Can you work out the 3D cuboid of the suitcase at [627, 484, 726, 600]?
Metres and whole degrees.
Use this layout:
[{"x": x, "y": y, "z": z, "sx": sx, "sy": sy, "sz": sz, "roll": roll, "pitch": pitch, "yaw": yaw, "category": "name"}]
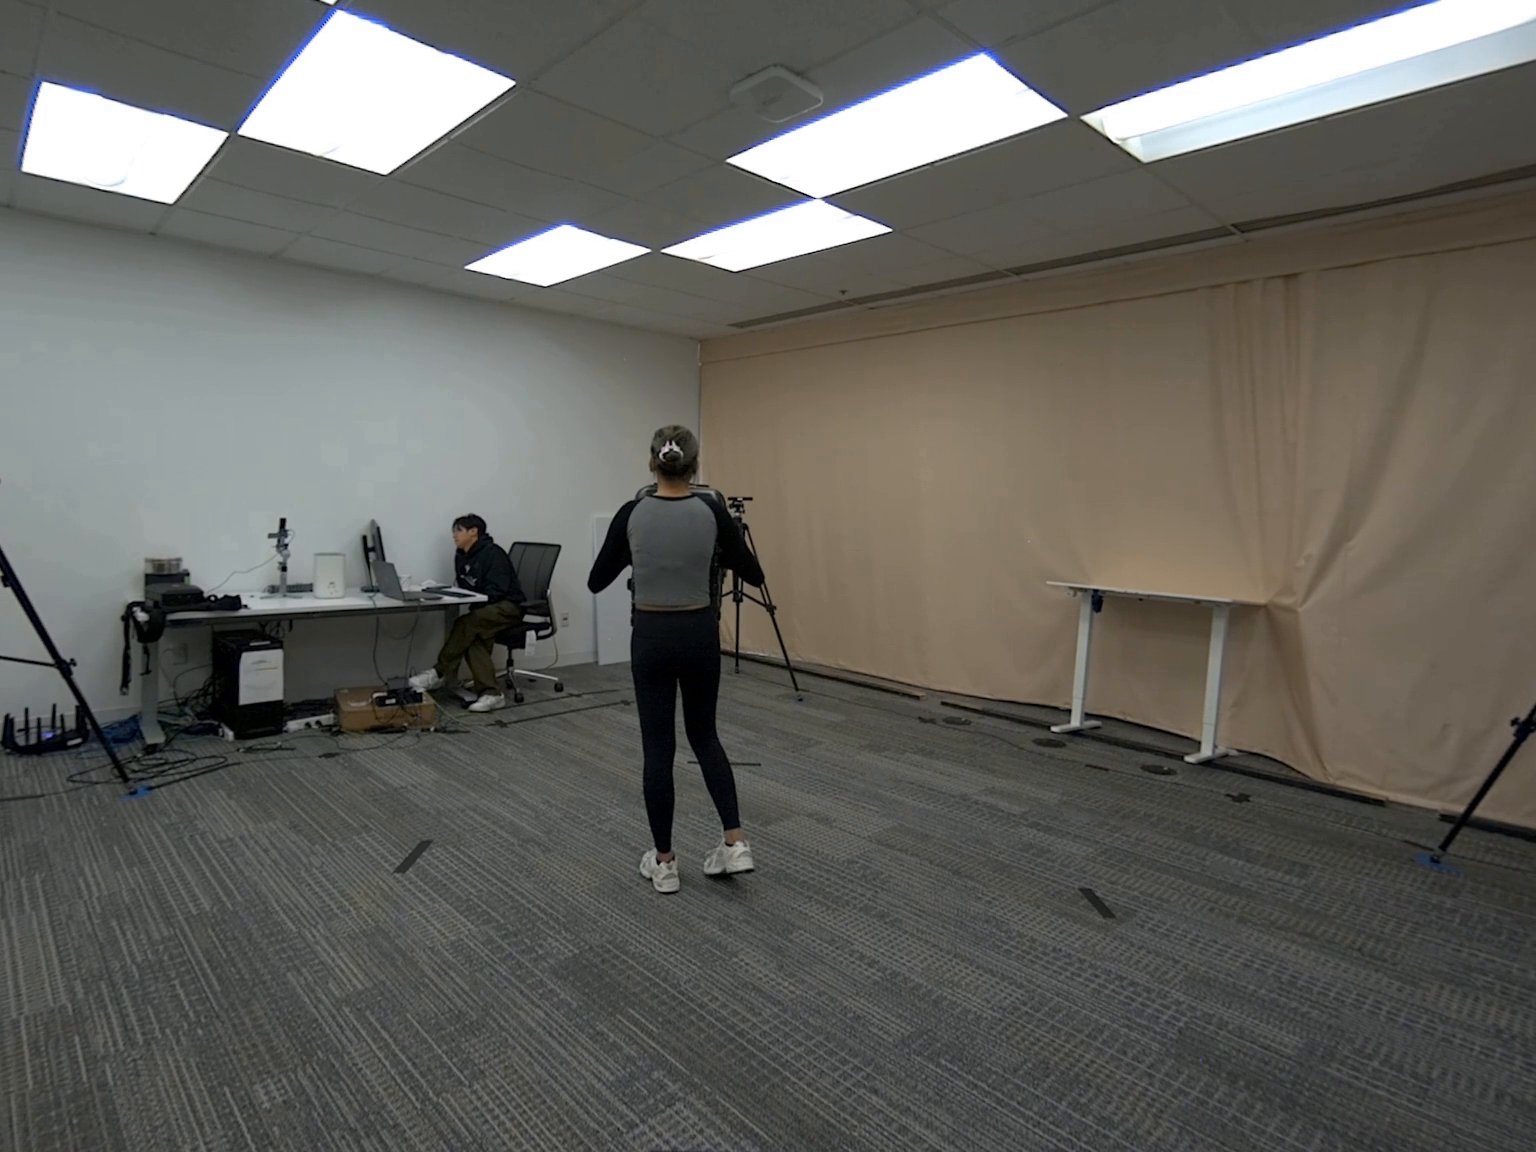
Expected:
[{"x": -0.349, "y": -0.084, "z": 3.275, "sx": 0.375, "sy": 0.546, "sz": 0.249, "roll": 3, "pitch": 7, "yaw": 0, "category": "suitcase"}]
